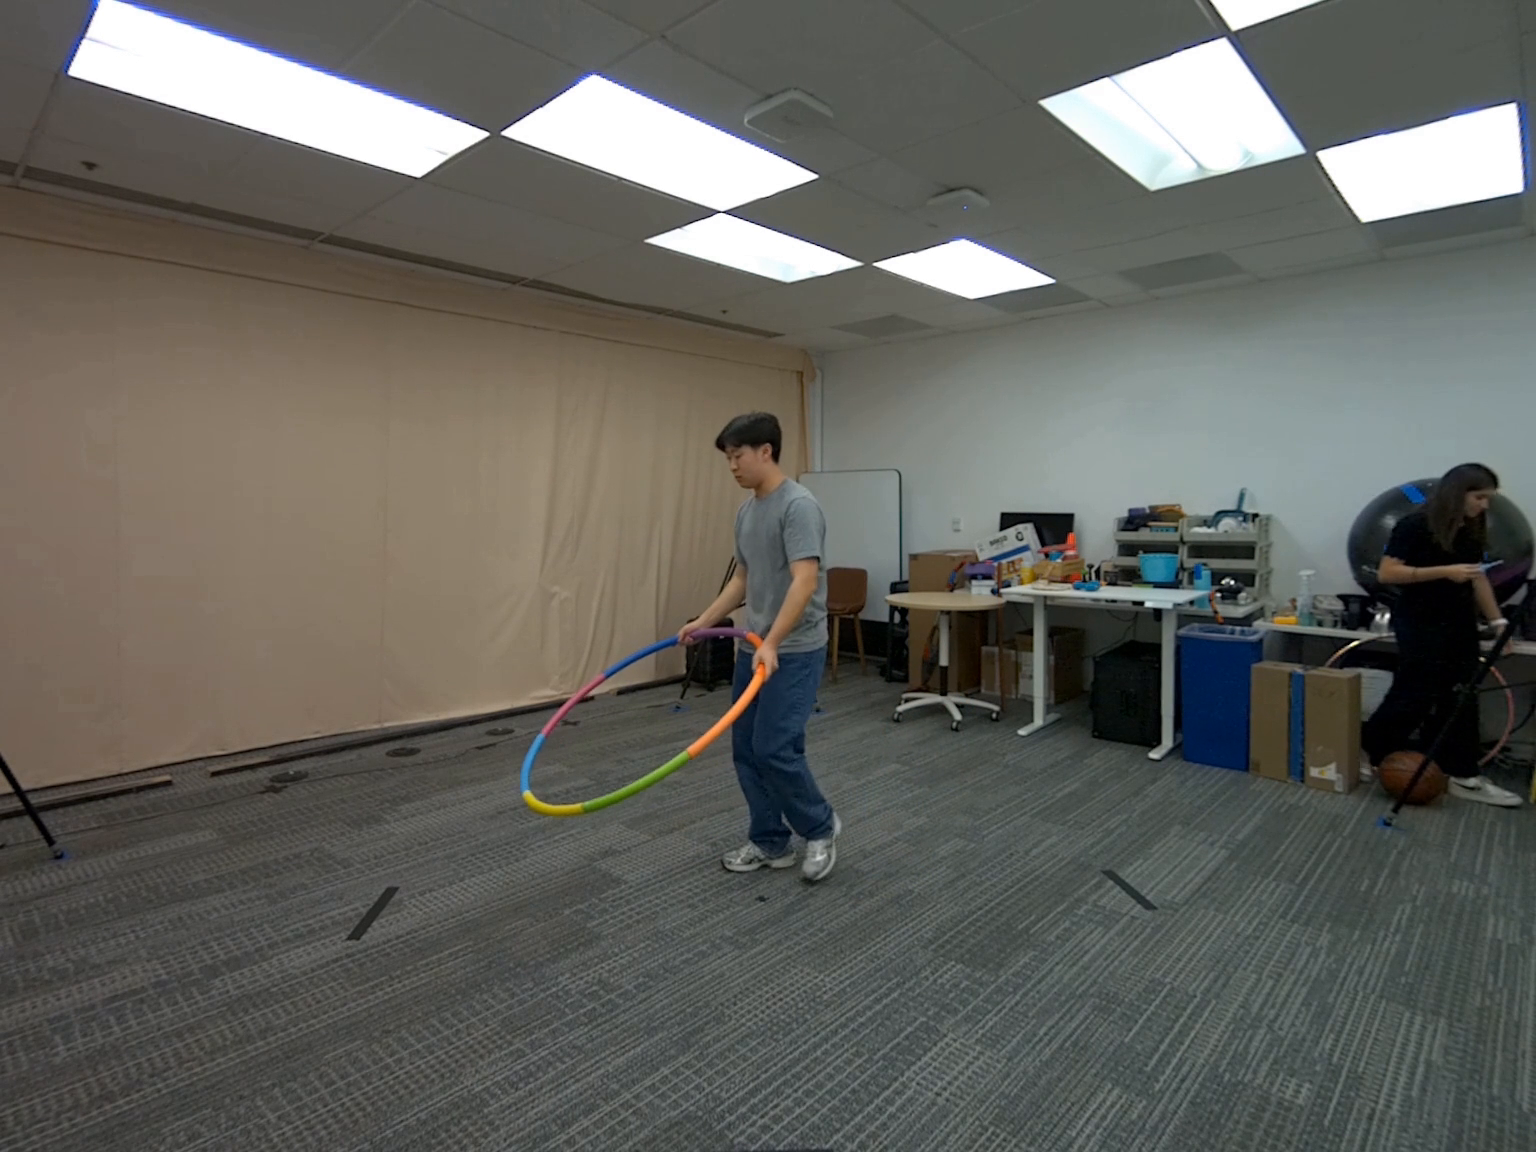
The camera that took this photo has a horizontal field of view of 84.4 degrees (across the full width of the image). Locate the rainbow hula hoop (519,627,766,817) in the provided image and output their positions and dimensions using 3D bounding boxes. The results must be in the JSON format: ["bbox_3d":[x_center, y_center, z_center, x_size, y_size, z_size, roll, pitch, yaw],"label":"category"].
[{"bbox_3d":[-0.434,0.474,2.969,0.984,0.035,0.991,-26,20,7],"label":"rainbow hula hoop"}]
